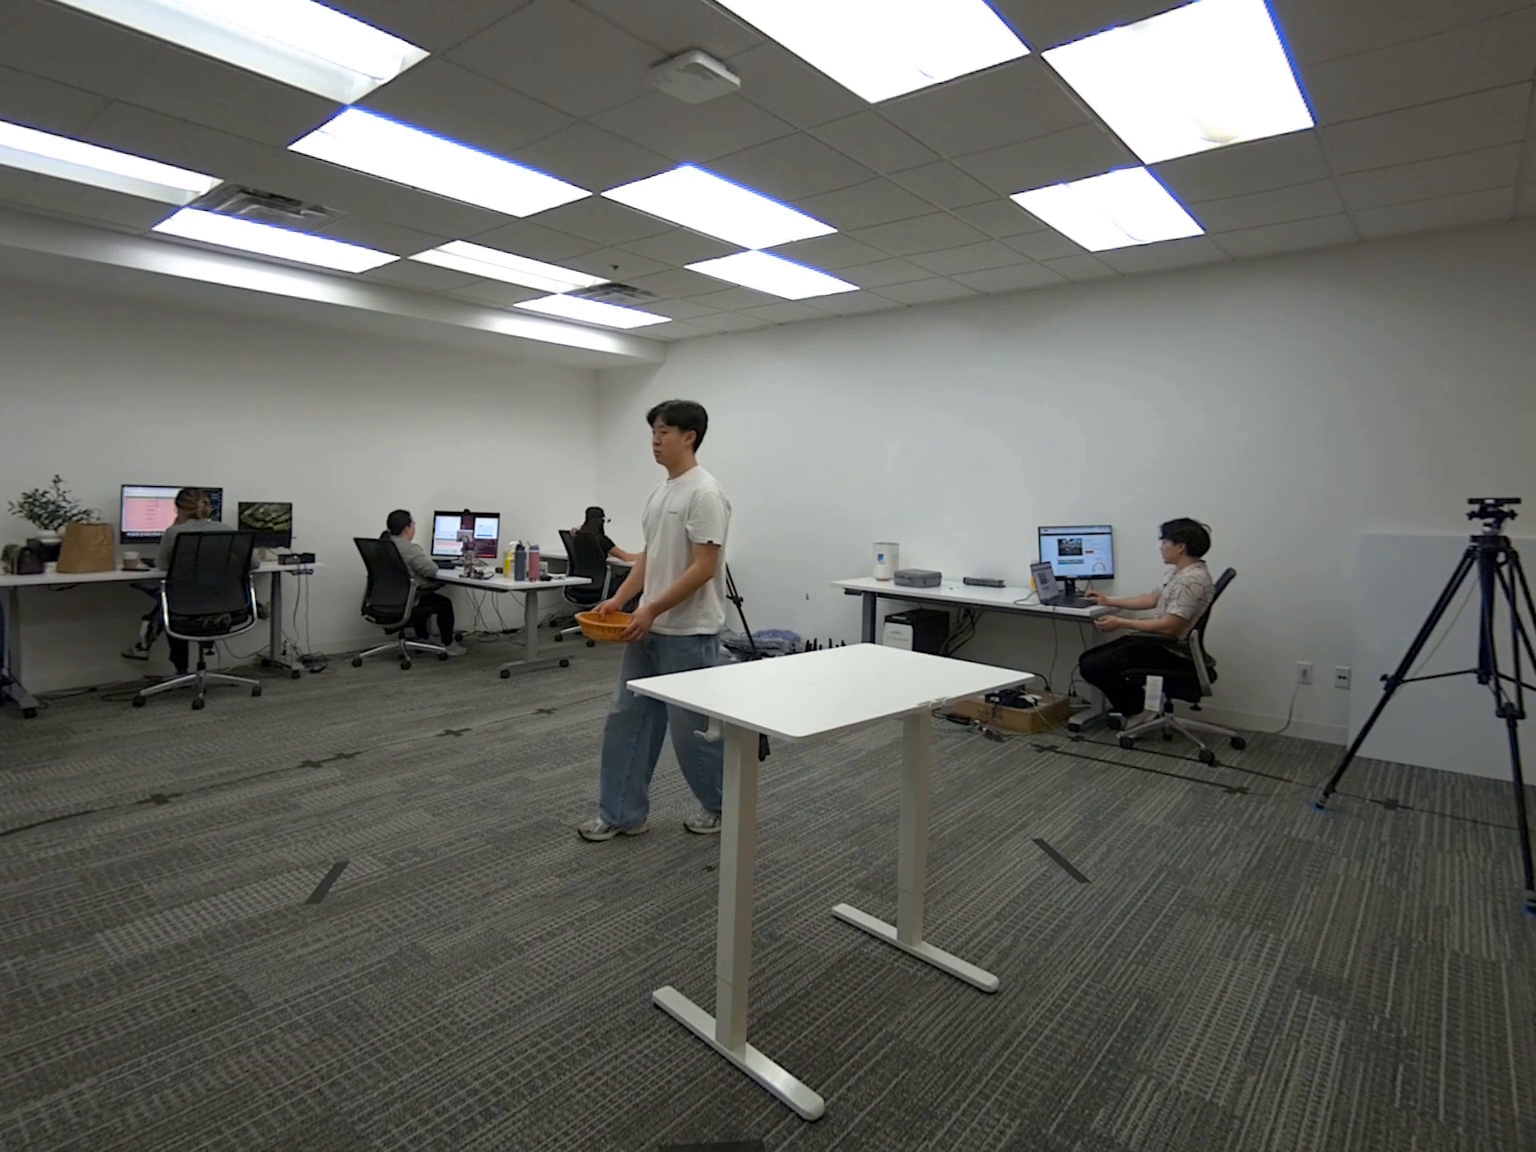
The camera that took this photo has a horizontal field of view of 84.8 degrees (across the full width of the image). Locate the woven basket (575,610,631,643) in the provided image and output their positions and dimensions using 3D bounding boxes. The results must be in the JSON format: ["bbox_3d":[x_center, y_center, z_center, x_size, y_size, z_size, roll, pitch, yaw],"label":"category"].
[{"bbox_3d":[-0.606,0.190,3.287,0.245,0.073,0.361,0,6,-31],"label":"woven basket"}]
